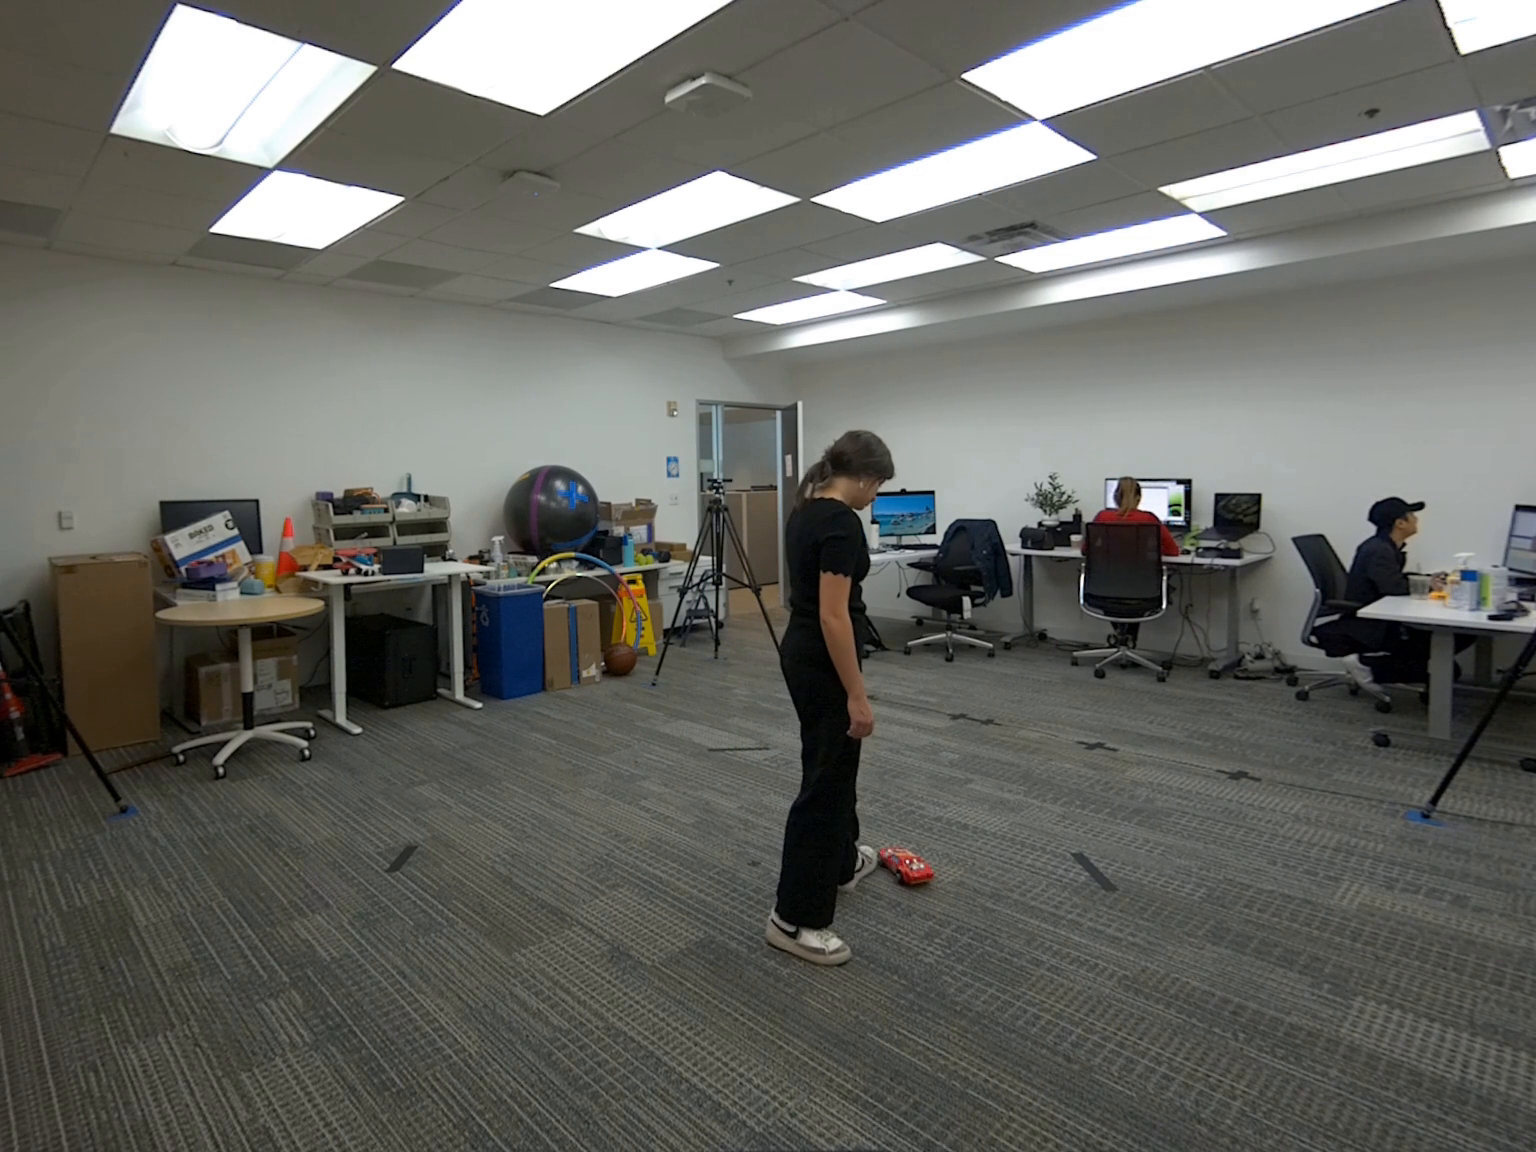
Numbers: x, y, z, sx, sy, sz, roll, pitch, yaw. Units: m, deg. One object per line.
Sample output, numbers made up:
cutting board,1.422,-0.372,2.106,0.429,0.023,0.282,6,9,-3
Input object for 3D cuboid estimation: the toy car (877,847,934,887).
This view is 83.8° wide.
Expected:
toy car,0.486,1.016,2.987,0.128,0.084,0.257,-4,-4,-17
